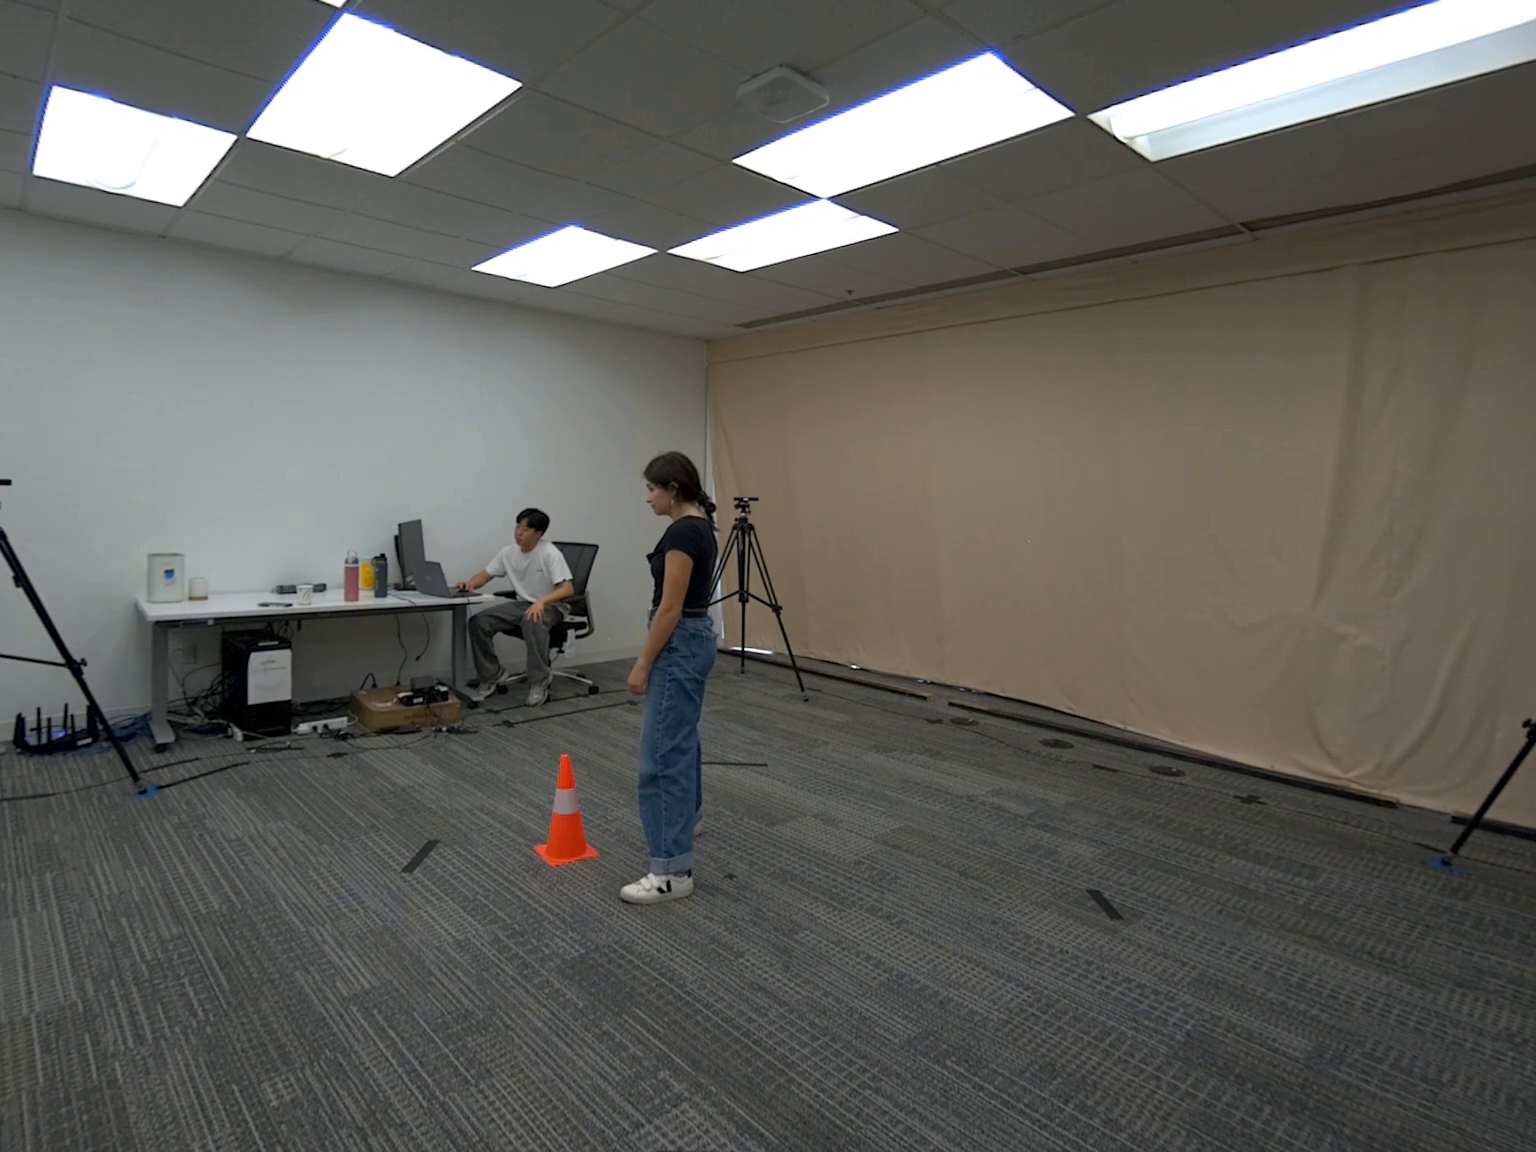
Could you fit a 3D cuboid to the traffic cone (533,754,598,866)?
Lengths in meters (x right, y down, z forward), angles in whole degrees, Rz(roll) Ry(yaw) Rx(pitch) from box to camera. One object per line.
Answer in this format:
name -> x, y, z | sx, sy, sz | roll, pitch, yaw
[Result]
traffic cone -> -0.805, 0.896, 3.275 | 0.201, 0.383, 0.208 | -3, 3, -30
